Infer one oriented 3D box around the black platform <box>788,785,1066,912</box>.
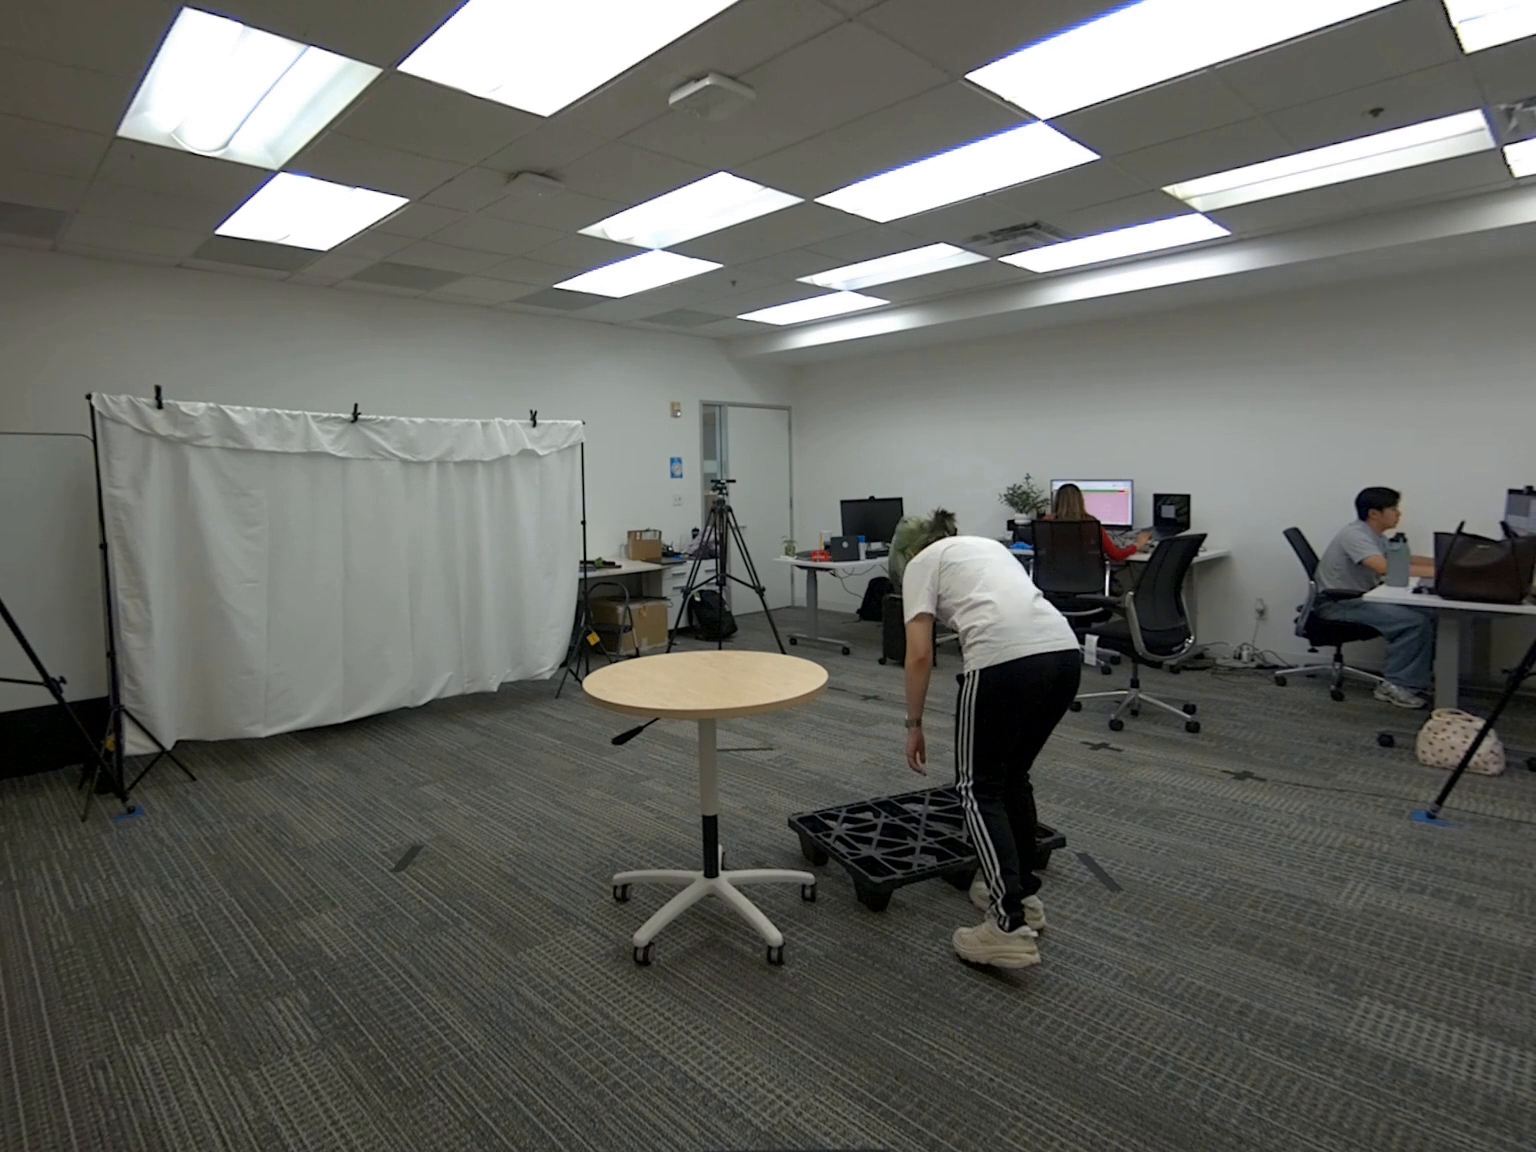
[{"bbox_3d":[0.564,0.969,3.097,0.789,0.142,0.621,-4,8,-25],"label":"black platform"}]
